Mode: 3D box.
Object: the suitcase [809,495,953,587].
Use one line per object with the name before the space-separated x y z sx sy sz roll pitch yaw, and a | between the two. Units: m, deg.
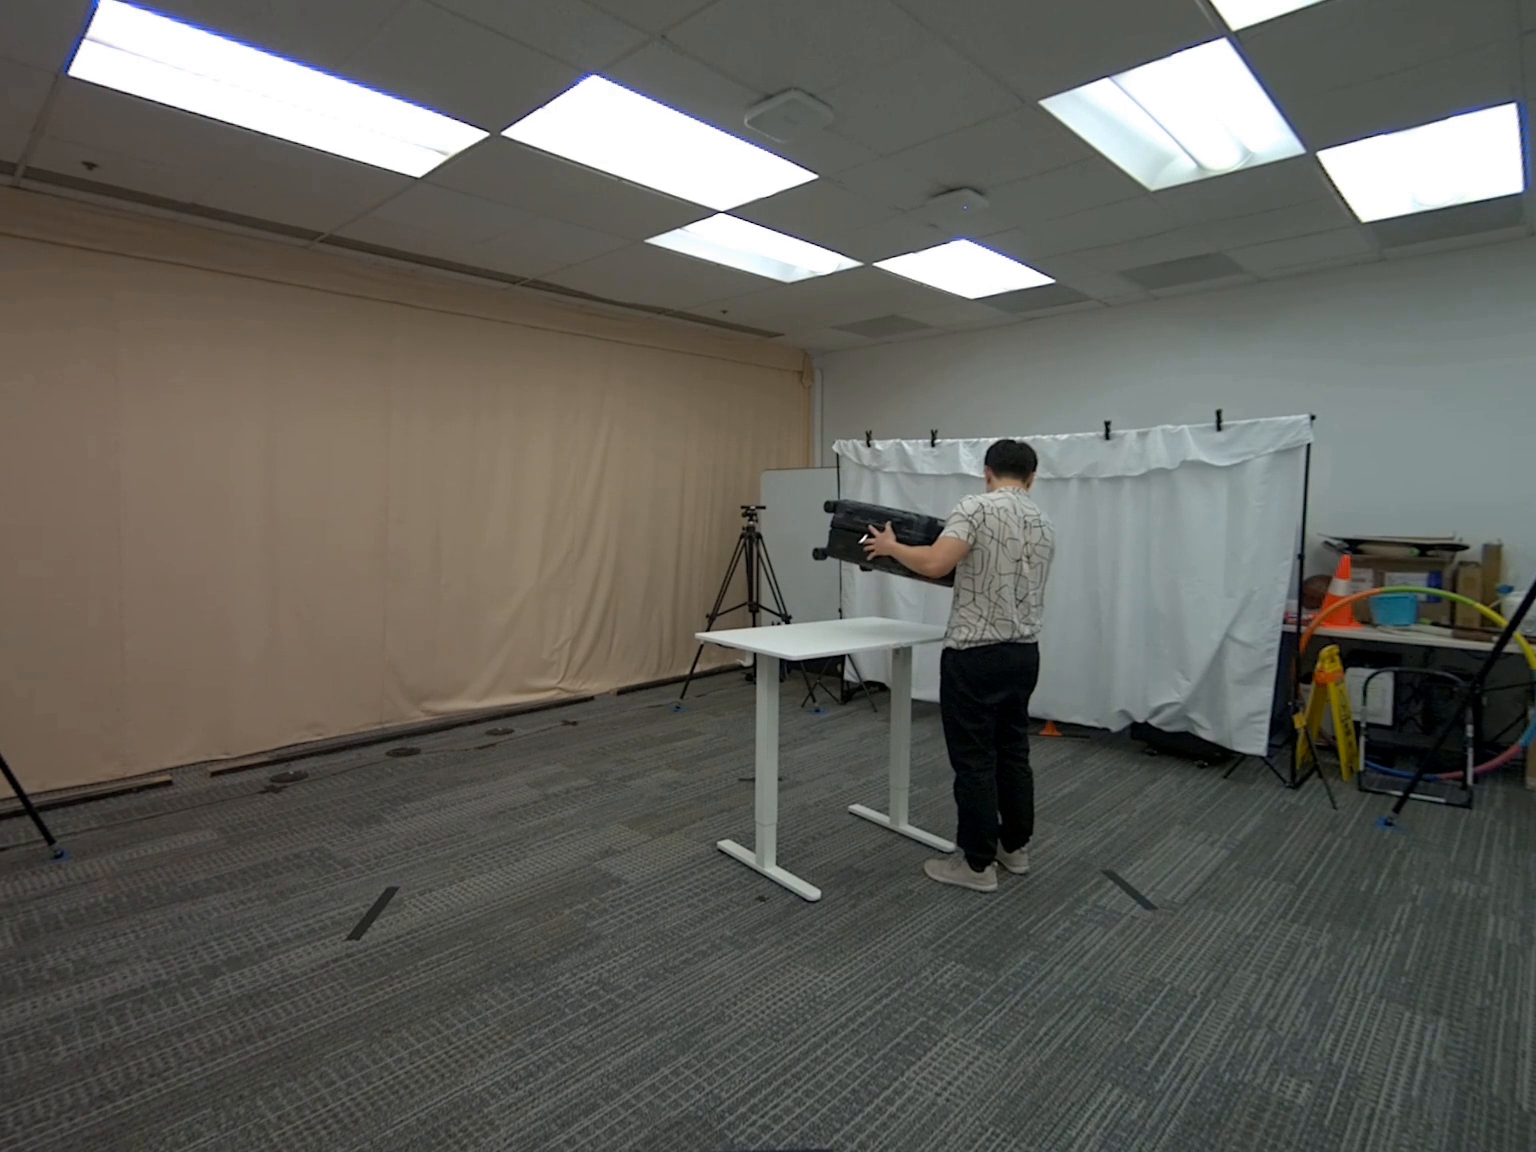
suitcase | 0.517 -0.139 3.398 0.362 0.248 0.569 13 1 -43
